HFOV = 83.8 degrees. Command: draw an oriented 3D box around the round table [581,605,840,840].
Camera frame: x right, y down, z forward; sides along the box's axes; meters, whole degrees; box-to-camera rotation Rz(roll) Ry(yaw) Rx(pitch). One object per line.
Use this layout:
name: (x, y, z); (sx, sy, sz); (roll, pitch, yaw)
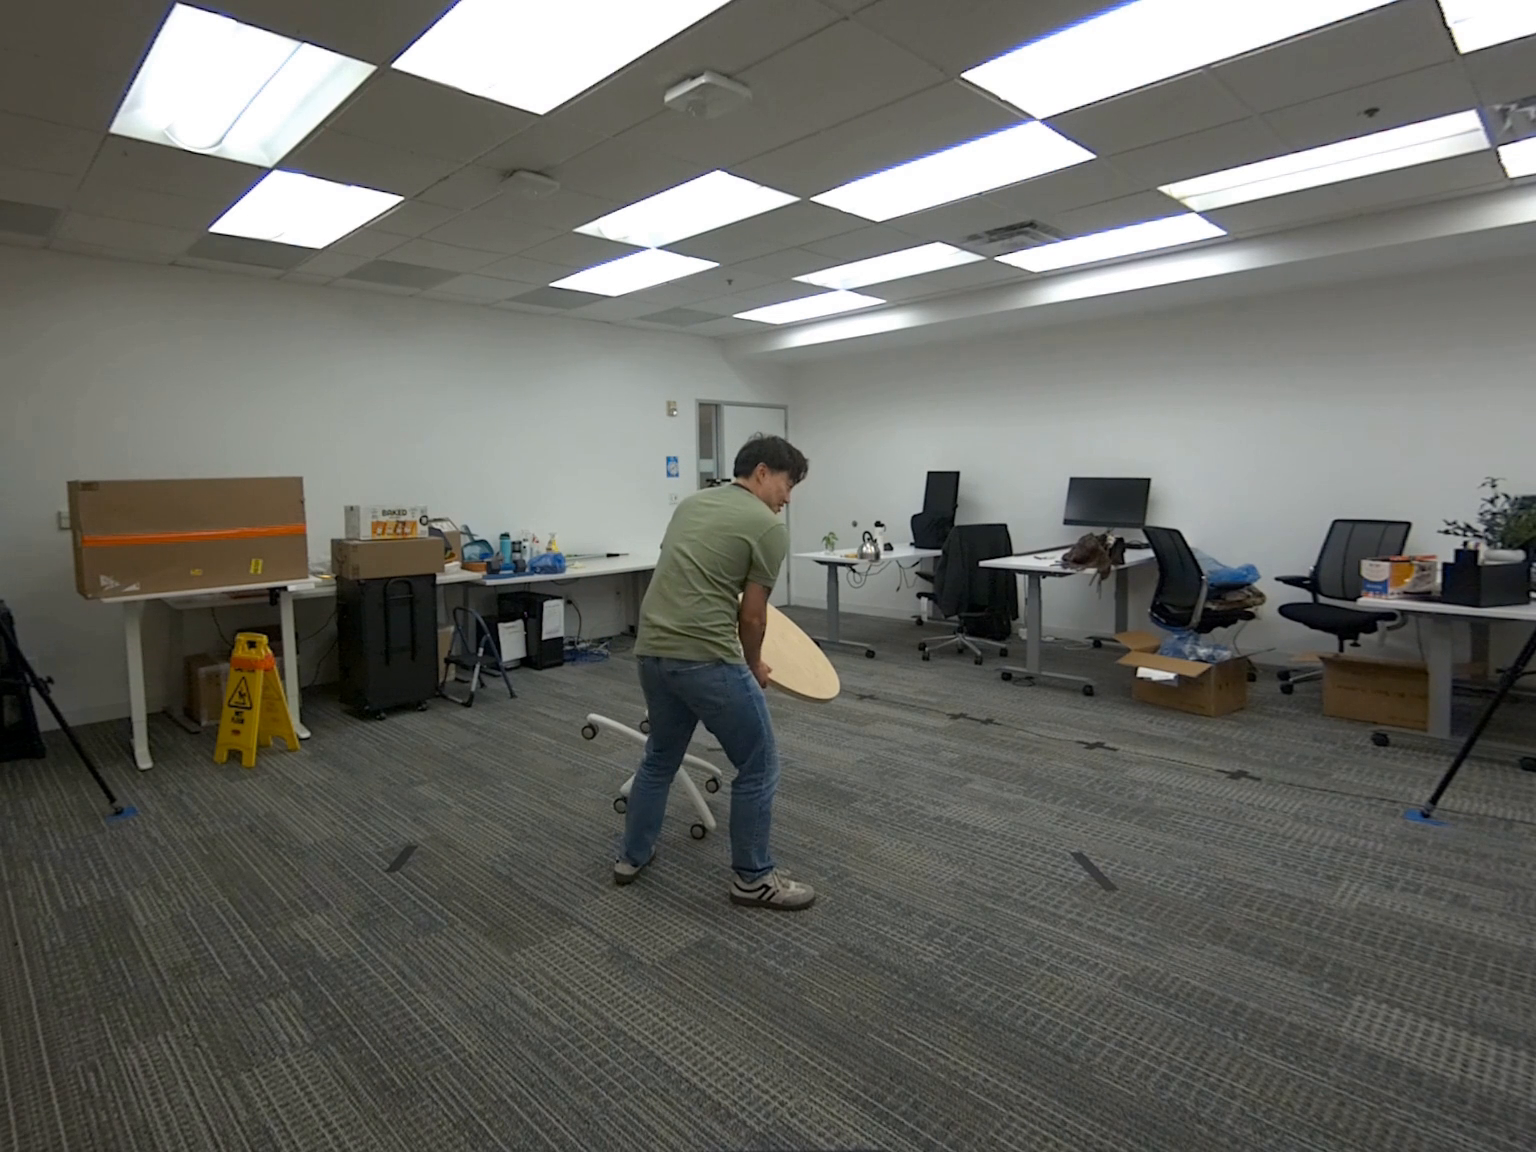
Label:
round table: (-0.257, 0.517, 3.414); (0.754, 0.792, 0.776); (32, 14, -11)
